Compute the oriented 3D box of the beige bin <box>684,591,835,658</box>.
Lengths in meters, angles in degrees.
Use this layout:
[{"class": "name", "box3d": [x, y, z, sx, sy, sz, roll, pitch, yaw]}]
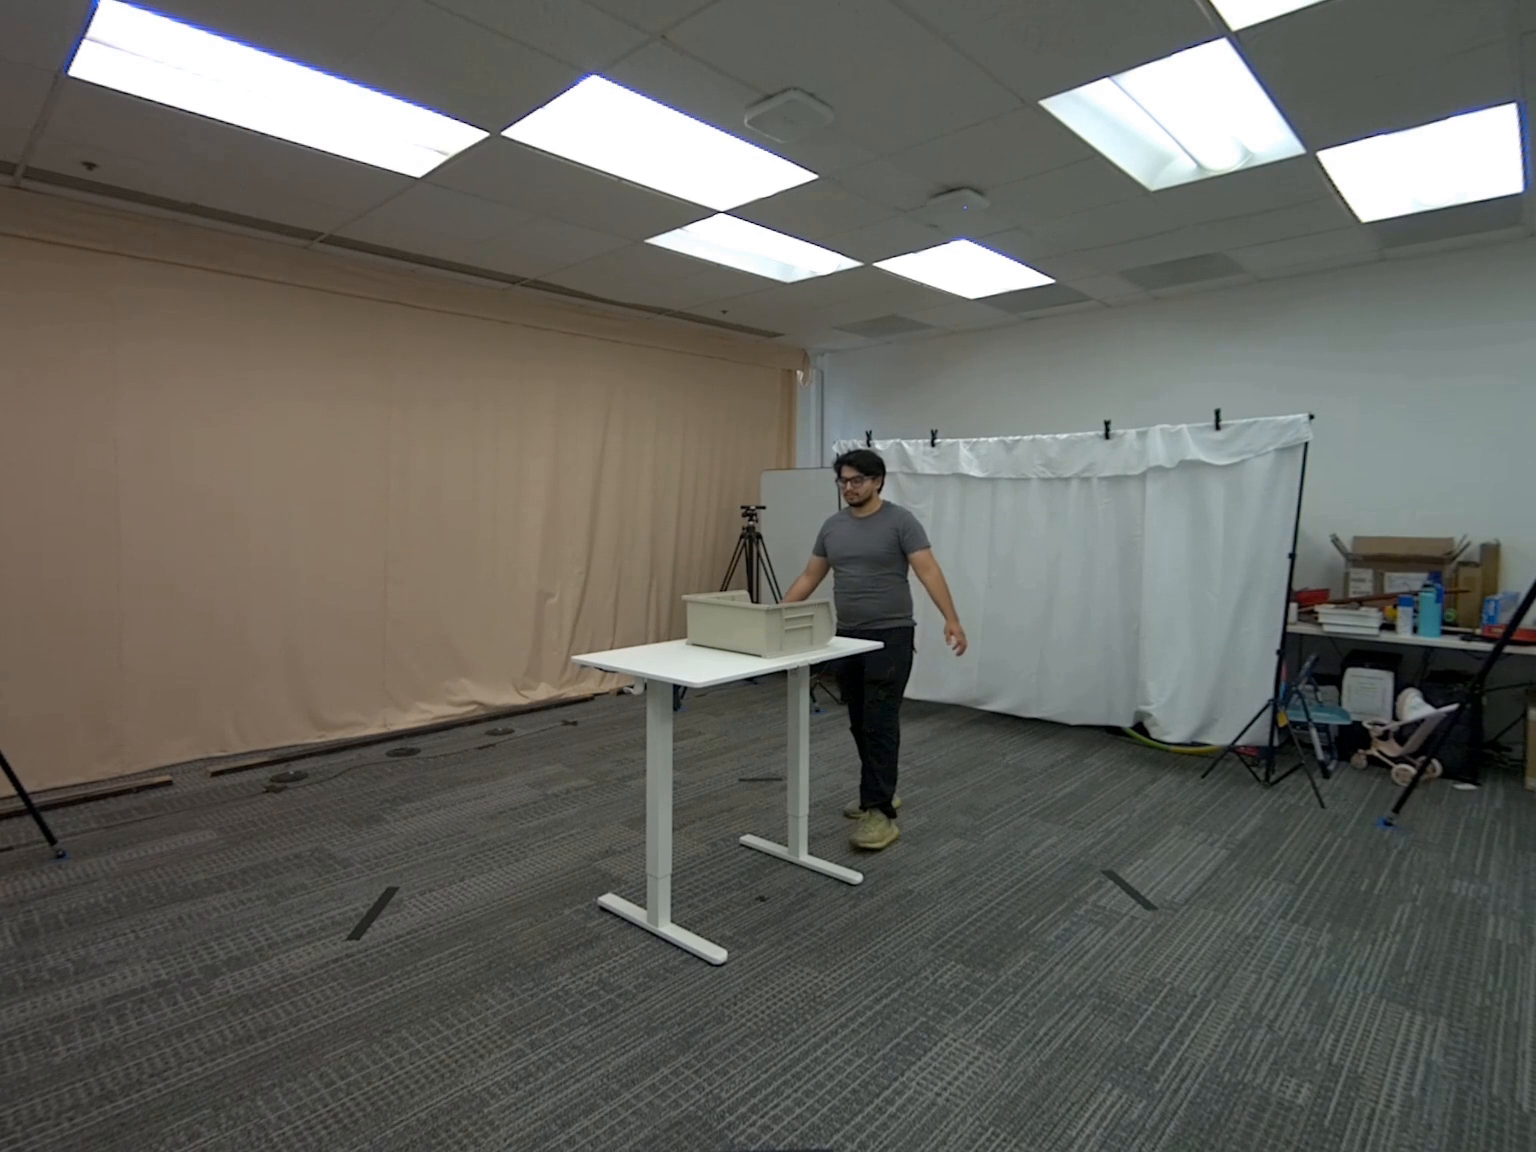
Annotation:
[{"class": "beige bin", "box3d": [-0.033, 0.168, 3.064, 0.436, 0.188, 0.366, 5, 7, 43]}]
